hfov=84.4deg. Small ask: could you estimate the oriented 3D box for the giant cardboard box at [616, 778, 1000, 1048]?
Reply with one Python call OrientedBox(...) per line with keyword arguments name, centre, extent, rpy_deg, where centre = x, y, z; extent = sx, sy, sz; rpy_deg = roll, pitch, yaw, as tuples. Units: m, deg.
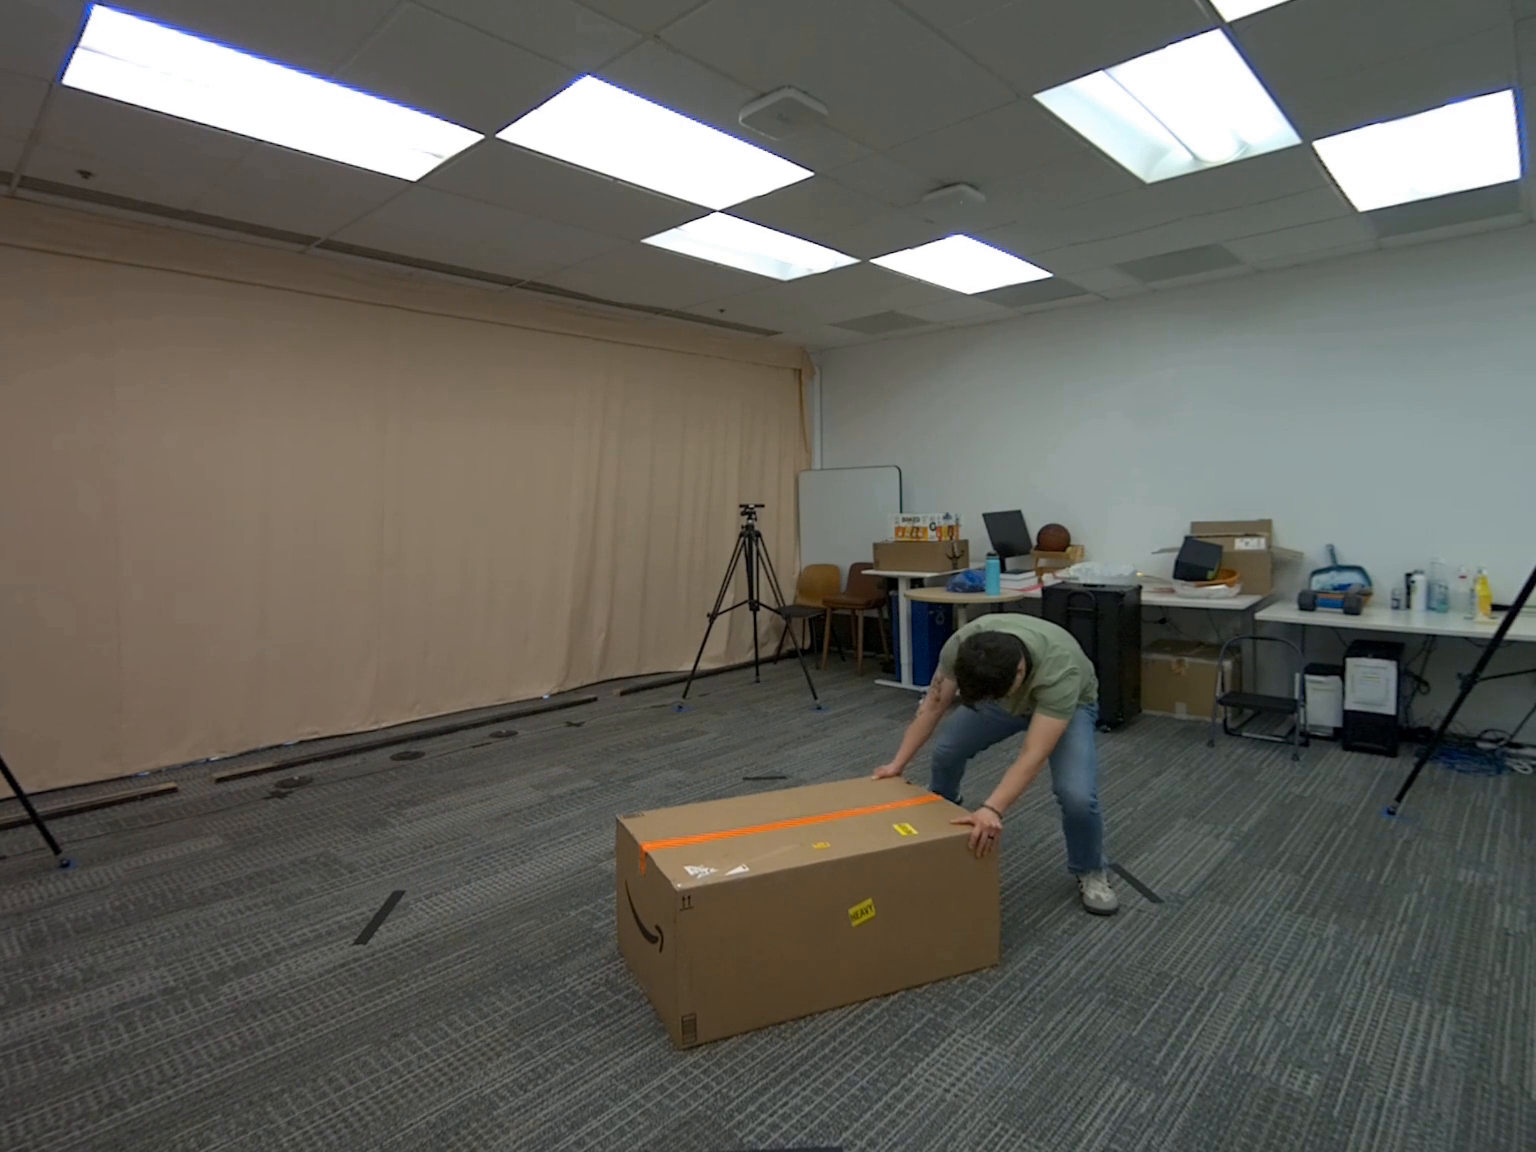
OrientedBox(name="giant cardboard box", centre=(0.110, 0.958, 2.586), extent=(1.003, 0.425, 0.592), rpy_deg=(-3, 4, -24))
